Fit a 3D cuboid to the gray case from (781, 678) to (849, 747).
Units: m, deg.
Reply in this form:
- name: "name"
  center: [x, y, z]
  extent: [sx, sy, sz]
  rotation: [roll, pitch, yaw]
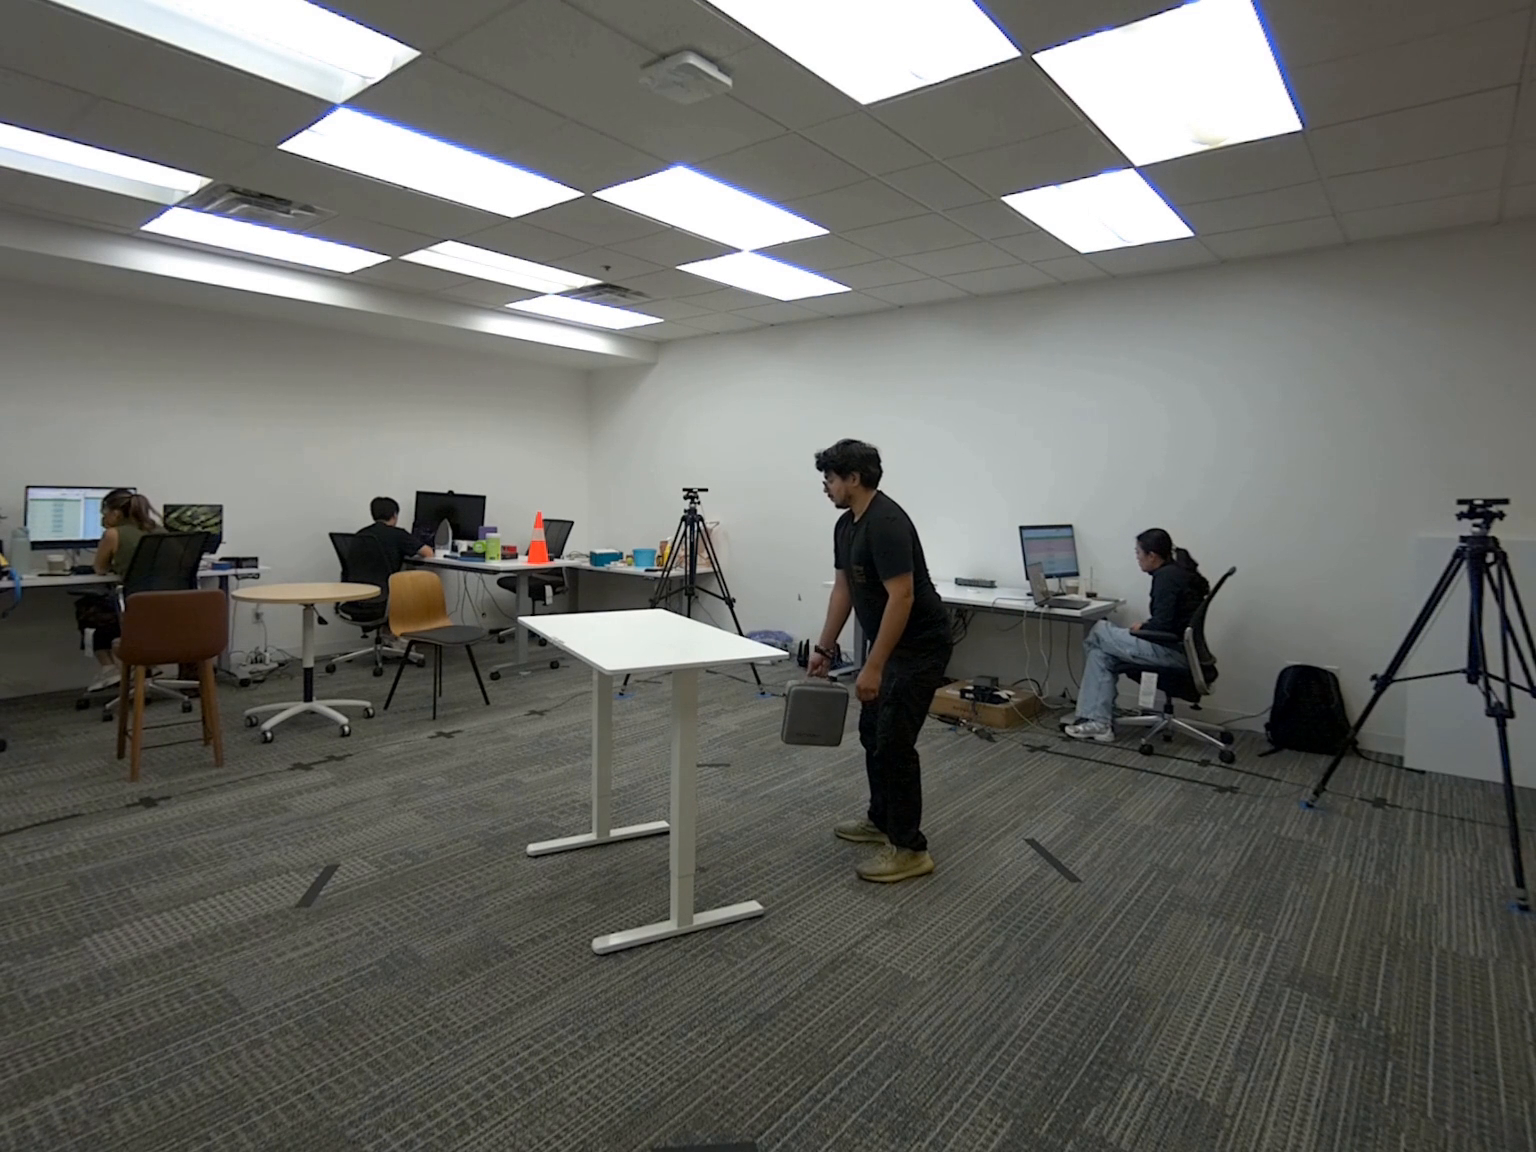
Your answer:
- name: "gray case"
  center: [0.179, 0.554, 3.451]
  extent: [0.253, 0.258, 0.106]
  rotation: [6, 10, -12]
